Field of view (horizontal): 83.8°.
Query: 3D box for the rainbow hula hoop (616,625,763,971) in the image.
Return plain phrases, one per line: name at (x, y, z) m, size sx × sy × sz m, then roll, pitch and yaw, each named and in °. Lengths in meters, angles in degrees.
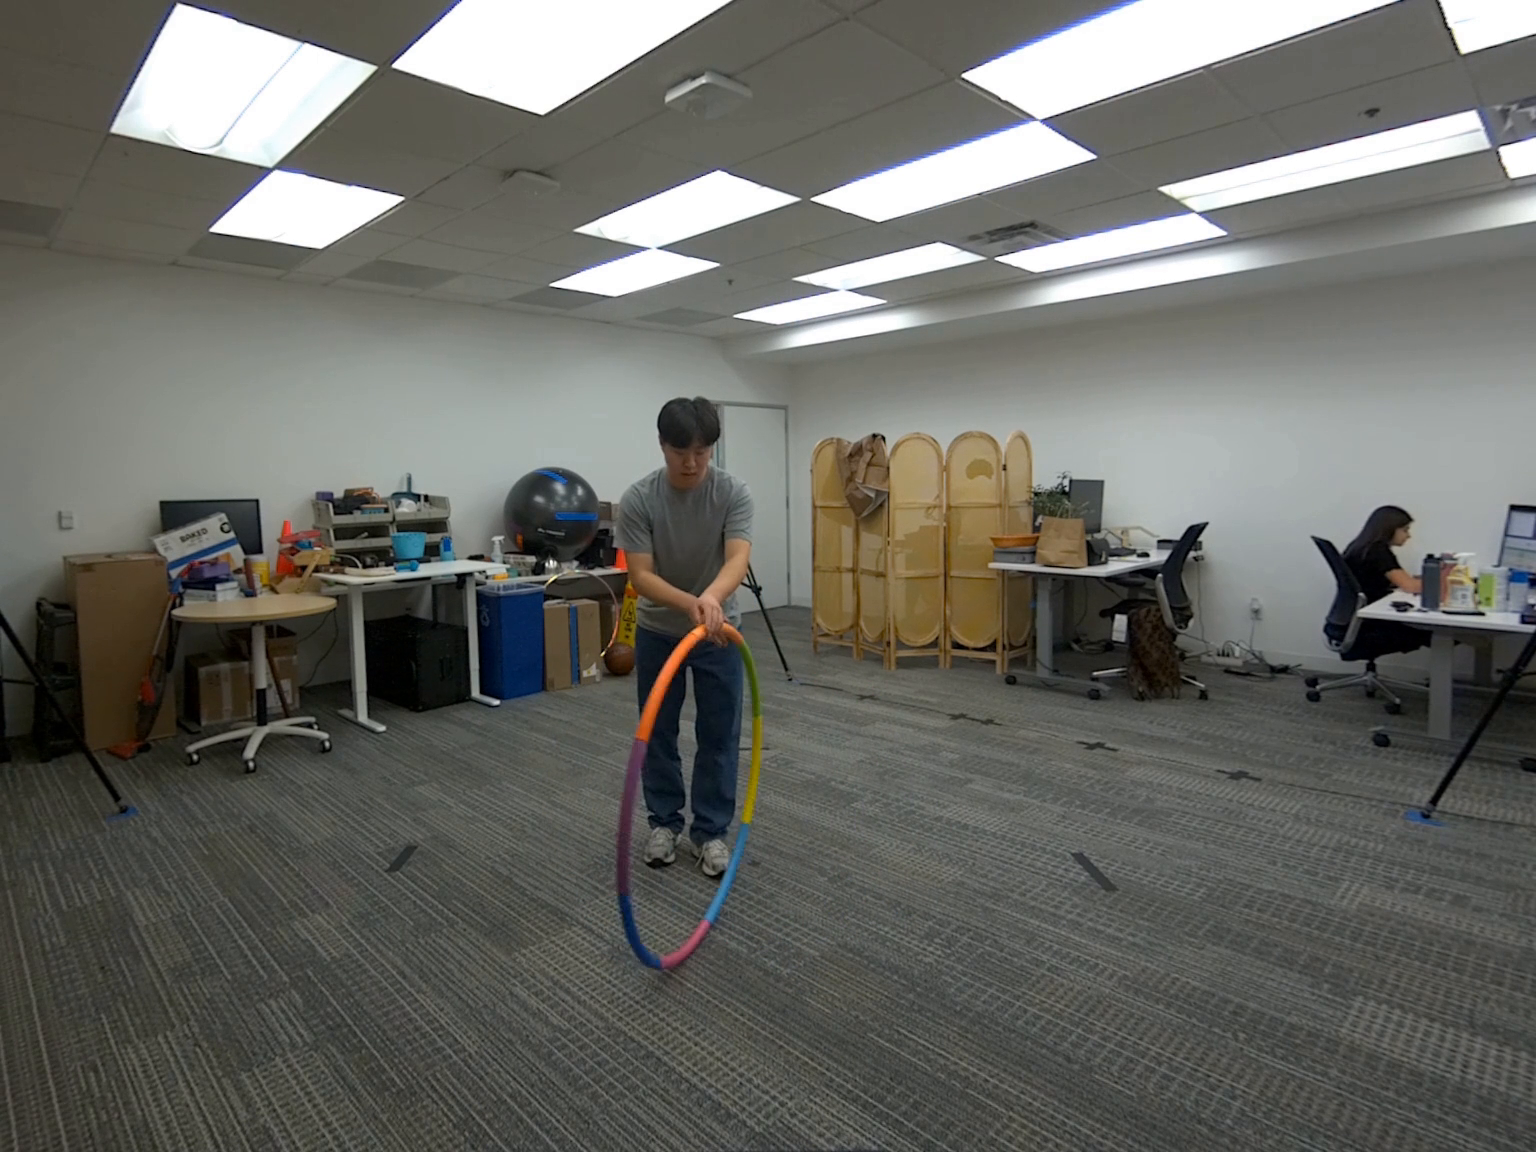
rainbow hula hoop at (-0.202, 0.633, 2.526) m, size 0.036 × 0.974 × 0.964 m, roll 4°, pitch 6°, yaw 18°
